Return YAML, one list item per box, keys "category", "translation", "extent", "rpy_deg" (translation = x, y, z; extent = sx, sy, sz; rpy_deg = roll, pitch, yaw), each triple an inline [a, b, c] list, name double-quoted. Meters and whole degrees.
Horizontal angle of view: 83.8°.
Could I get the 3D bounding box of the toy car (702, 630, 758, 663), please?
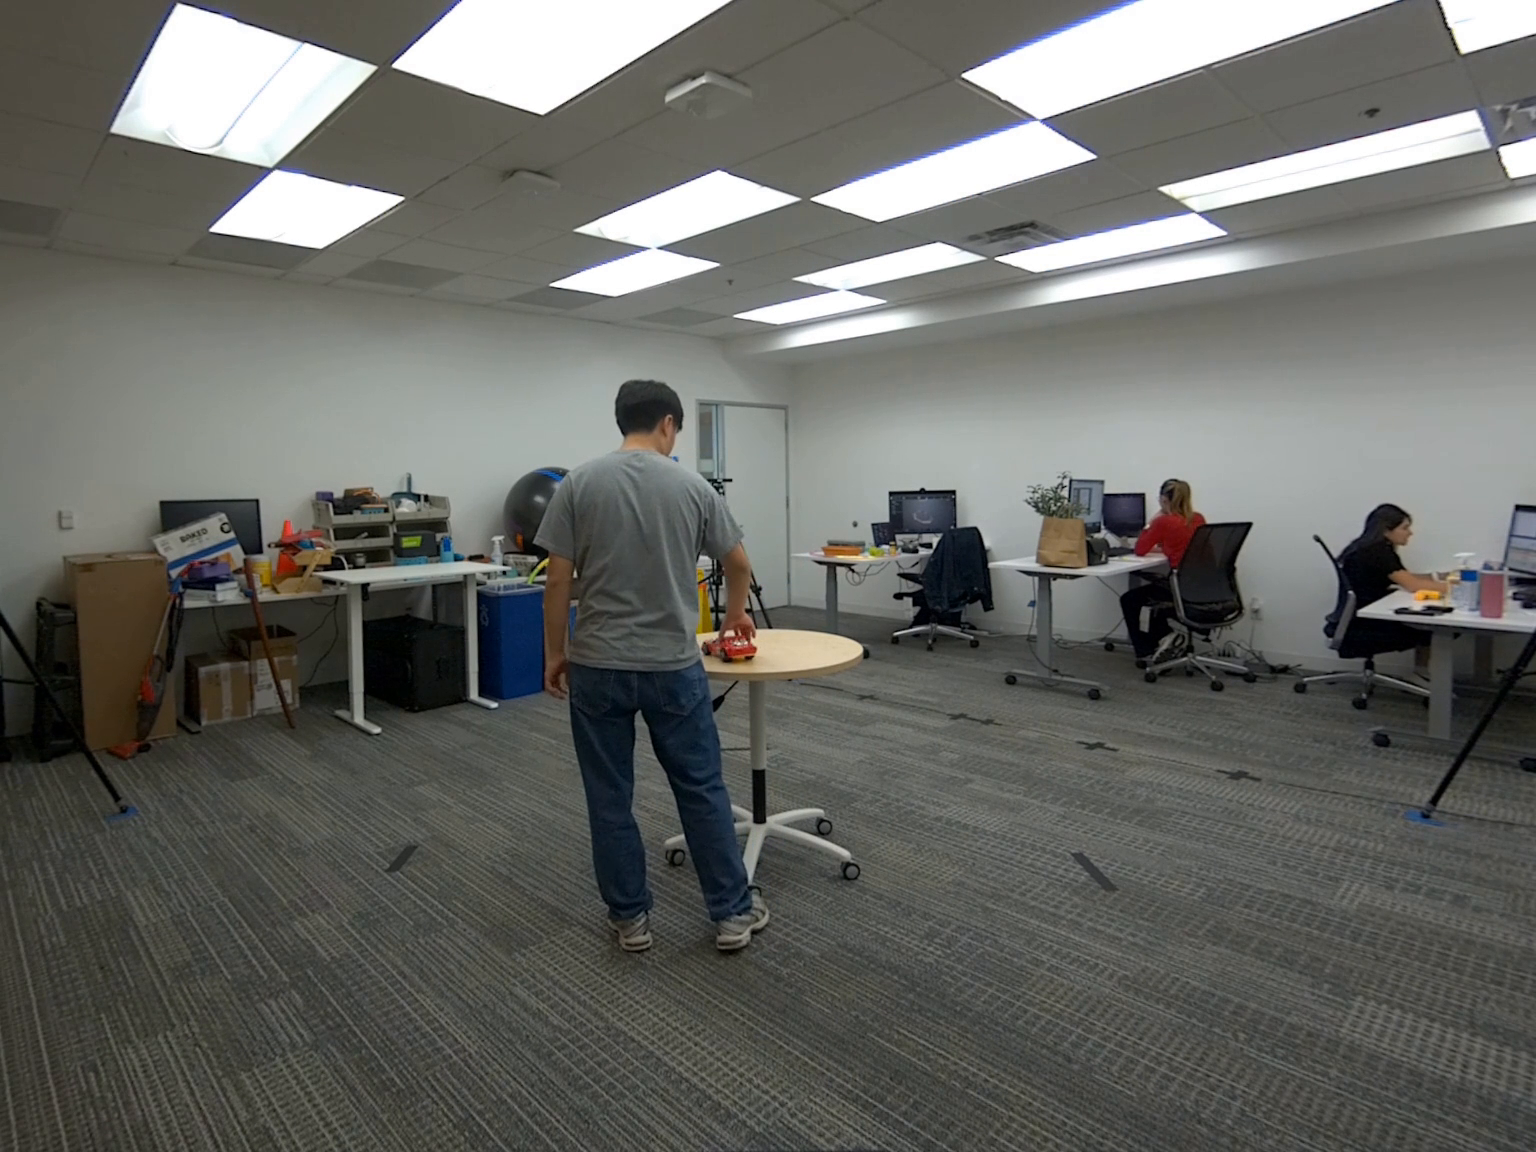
- category: "toy car"
  translation: [-0.121, 0.252, 2.942]
  extent: [0.127, 0.083, 0.259]
  rpy_deg: [-4, -4, -28]
